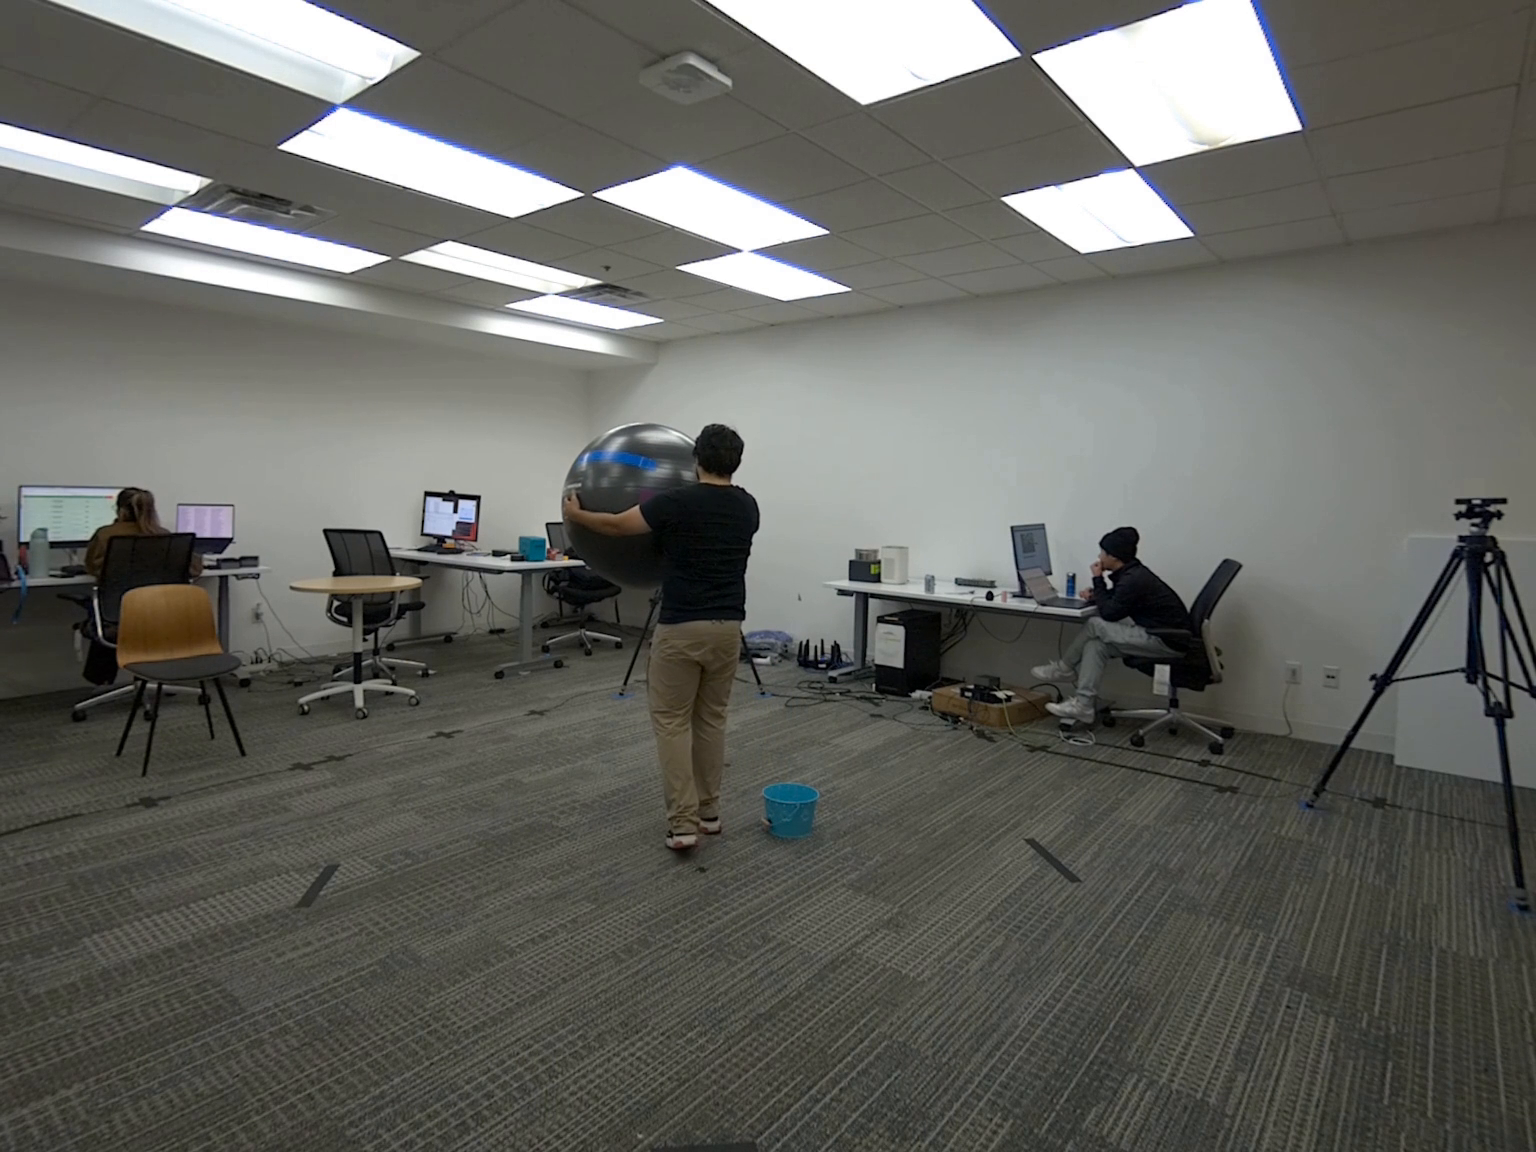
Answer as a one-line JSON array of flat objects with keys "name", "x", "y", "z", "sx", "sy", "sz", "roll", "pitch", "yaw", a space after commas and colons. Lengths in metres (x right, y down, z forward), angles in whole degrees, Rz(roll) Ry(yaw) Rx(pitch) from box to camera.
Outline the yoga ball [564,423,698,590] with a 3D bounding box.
[{"name": "yoga ball", "x": -0.588, "y": -0.319, "z": 3.927, "sx": 0.757, "sy": 0.755, "sz": 0.762, "roll": 1, "pitch": 4, "yaw": -2}]
